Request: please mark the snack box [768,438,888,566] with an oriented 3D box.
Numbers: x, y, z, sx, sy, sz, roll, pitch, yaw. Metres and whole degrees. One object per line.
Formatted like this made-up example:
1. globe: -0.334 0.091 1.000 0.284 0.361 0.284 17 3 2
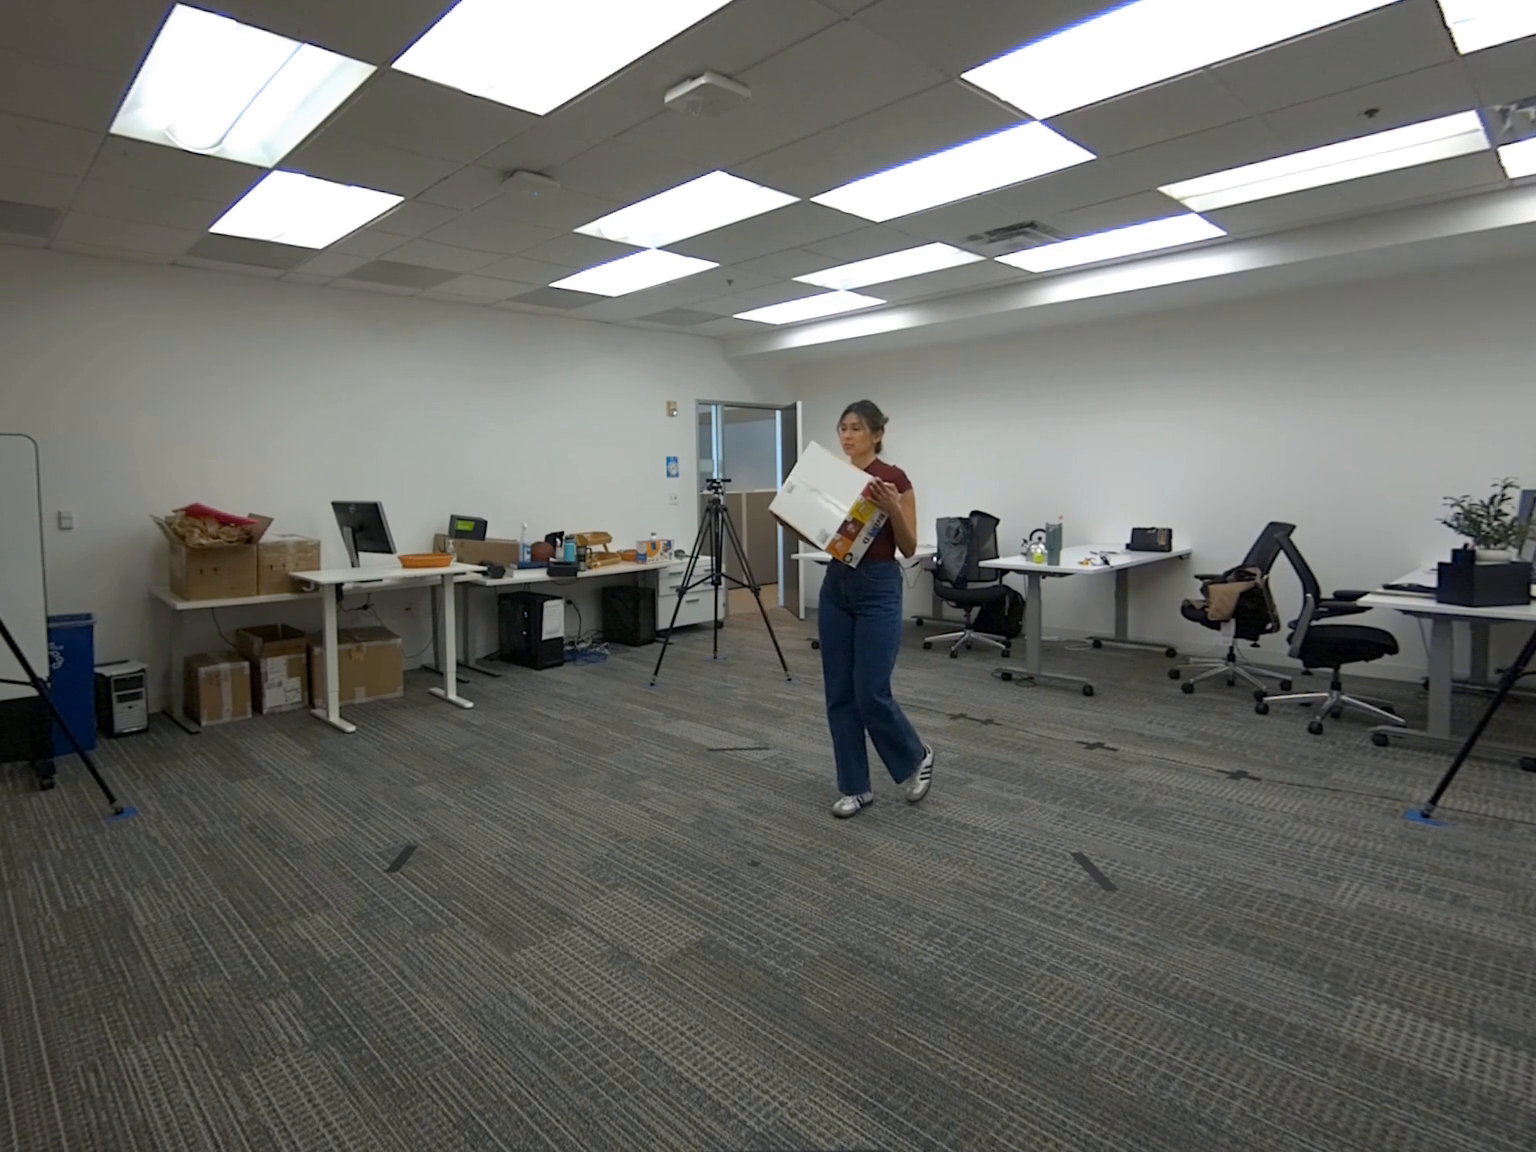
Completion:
1. snack box: 0.269 -0.297 3.438 0.198 0.339 0.421 26 10 -43
